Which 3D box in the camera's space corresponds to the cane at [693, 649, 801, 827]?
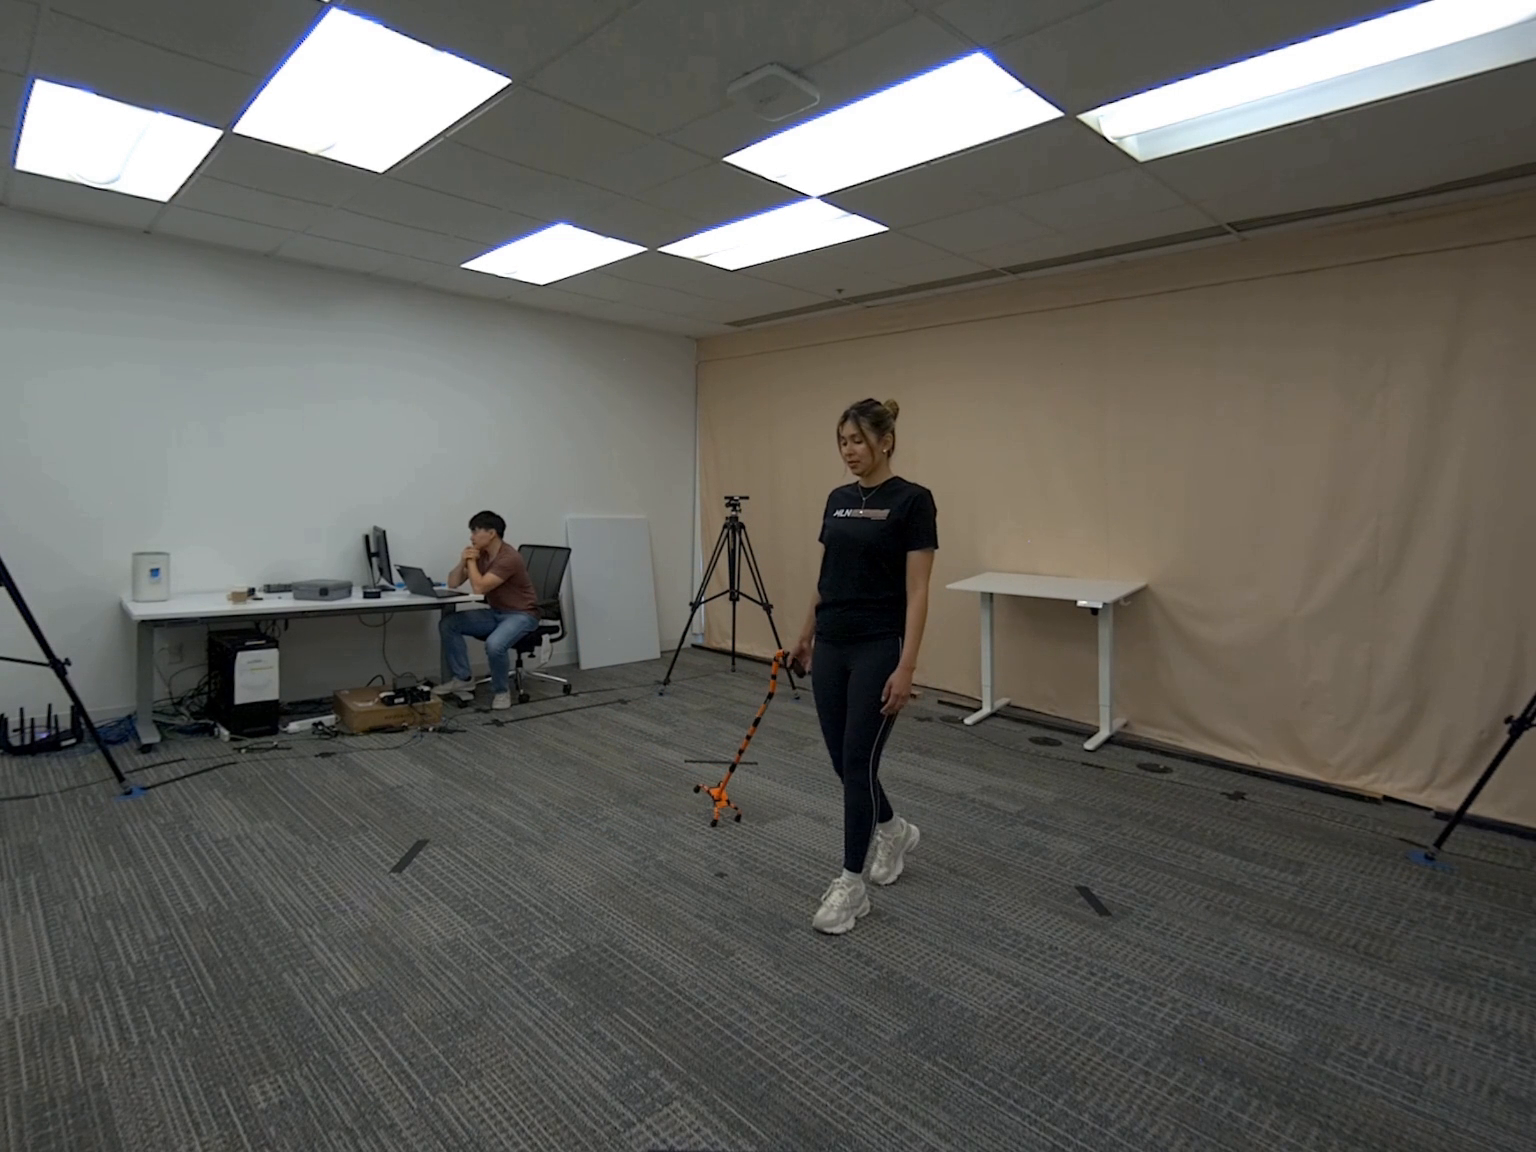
[{"bbox_3d":[-0.072,0.649,3.426,0.148,0.899,0.213,0,39,-35],"label":"cane"}]
